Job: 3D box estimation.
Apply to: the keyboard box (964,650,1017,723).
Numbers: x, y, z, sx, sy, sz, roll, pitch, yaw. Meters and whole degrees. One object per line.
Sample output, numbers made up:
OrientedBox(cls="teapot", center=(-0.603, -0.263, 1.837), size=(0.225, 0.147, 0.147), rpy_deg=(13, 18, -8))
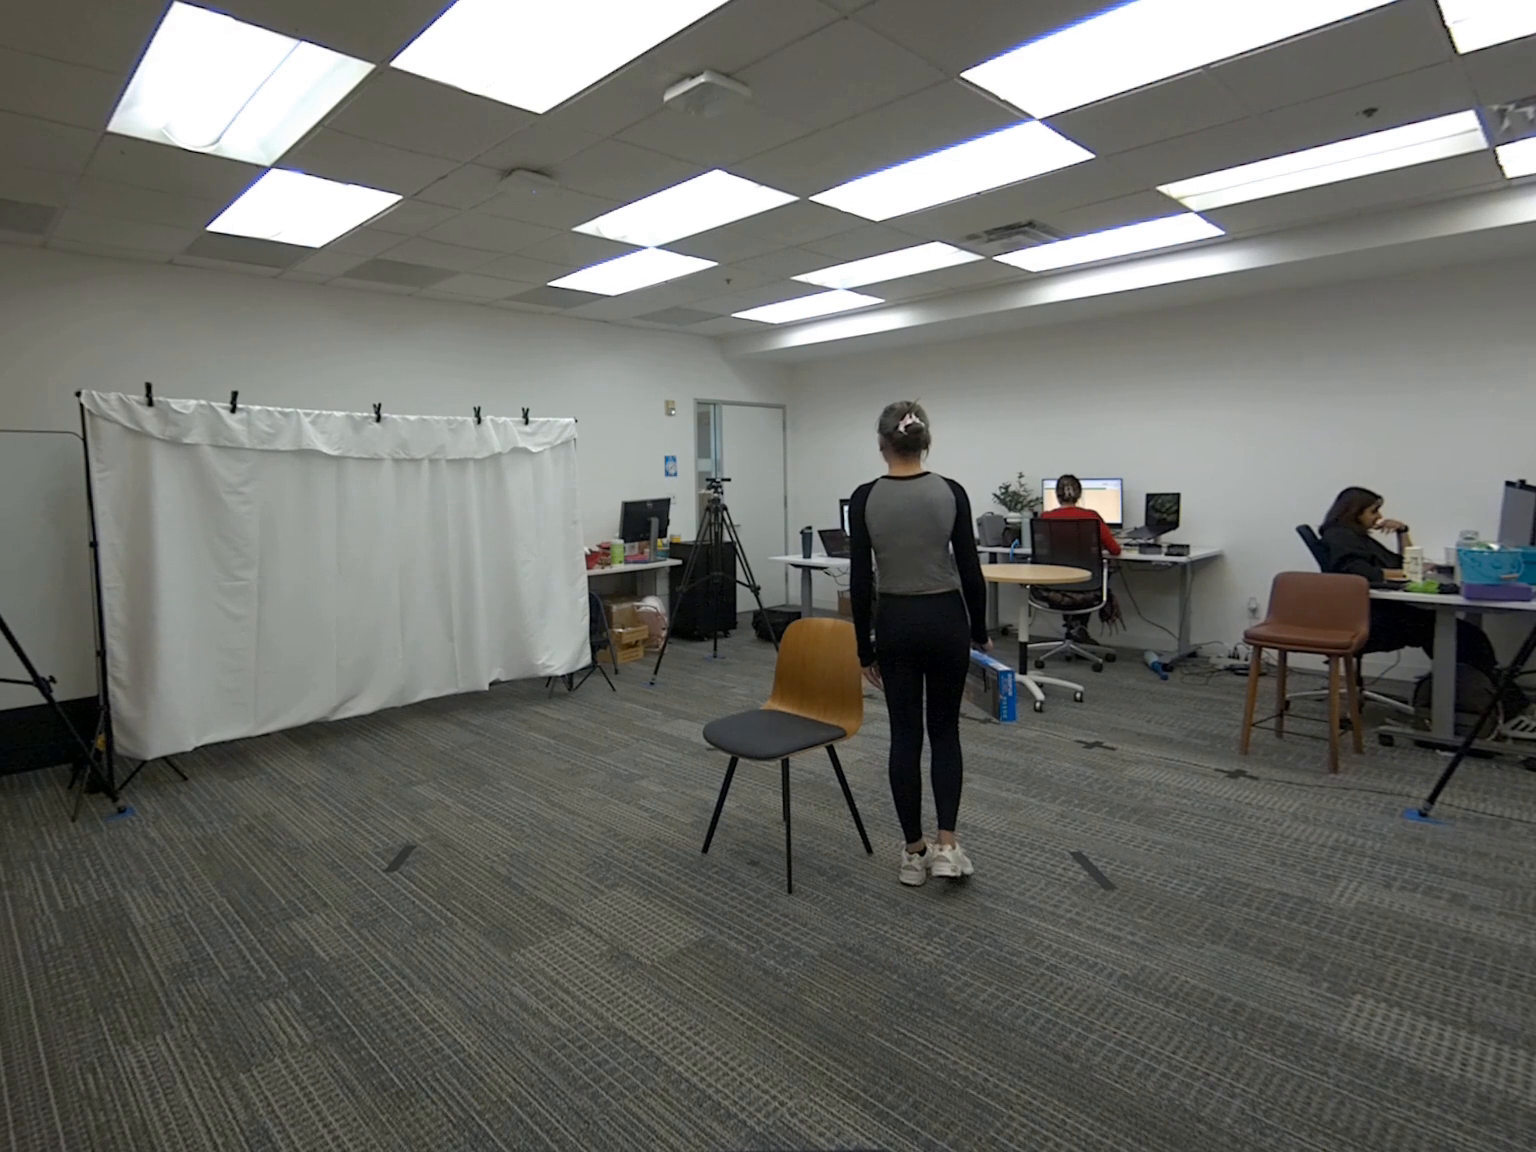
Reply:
OrientedBox(cls="keyboard box", center=(0.748, 0.369, 3.022), size=(0.058, 0.175, 0.443), rpy_deg=(-3, 7, -10))
